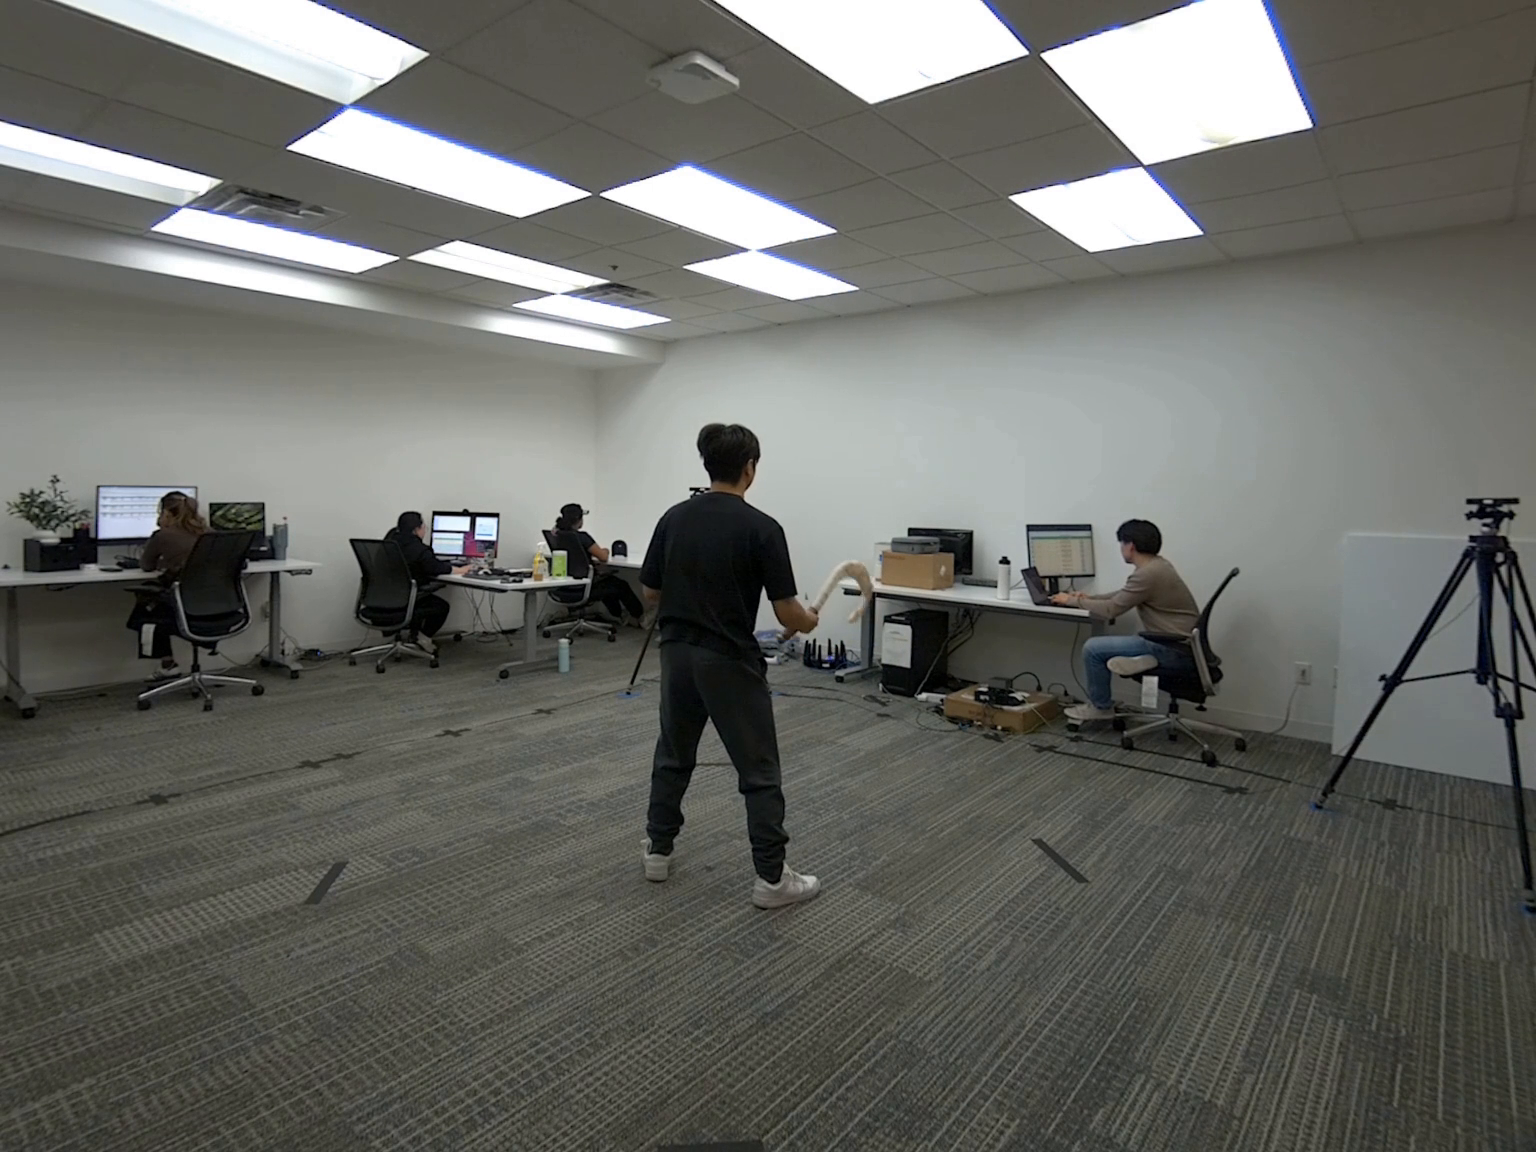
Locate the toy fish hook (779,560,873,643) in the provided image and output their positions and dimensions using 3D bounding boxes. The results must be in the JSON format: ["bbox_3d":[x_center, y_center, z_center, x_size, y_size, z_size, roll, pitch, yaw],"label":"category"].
[{"bbox_3d":[0.210,0.137,3.197,0.504,0.220,0.049,-40,16,-28],"label":"toy fish hook"}]
